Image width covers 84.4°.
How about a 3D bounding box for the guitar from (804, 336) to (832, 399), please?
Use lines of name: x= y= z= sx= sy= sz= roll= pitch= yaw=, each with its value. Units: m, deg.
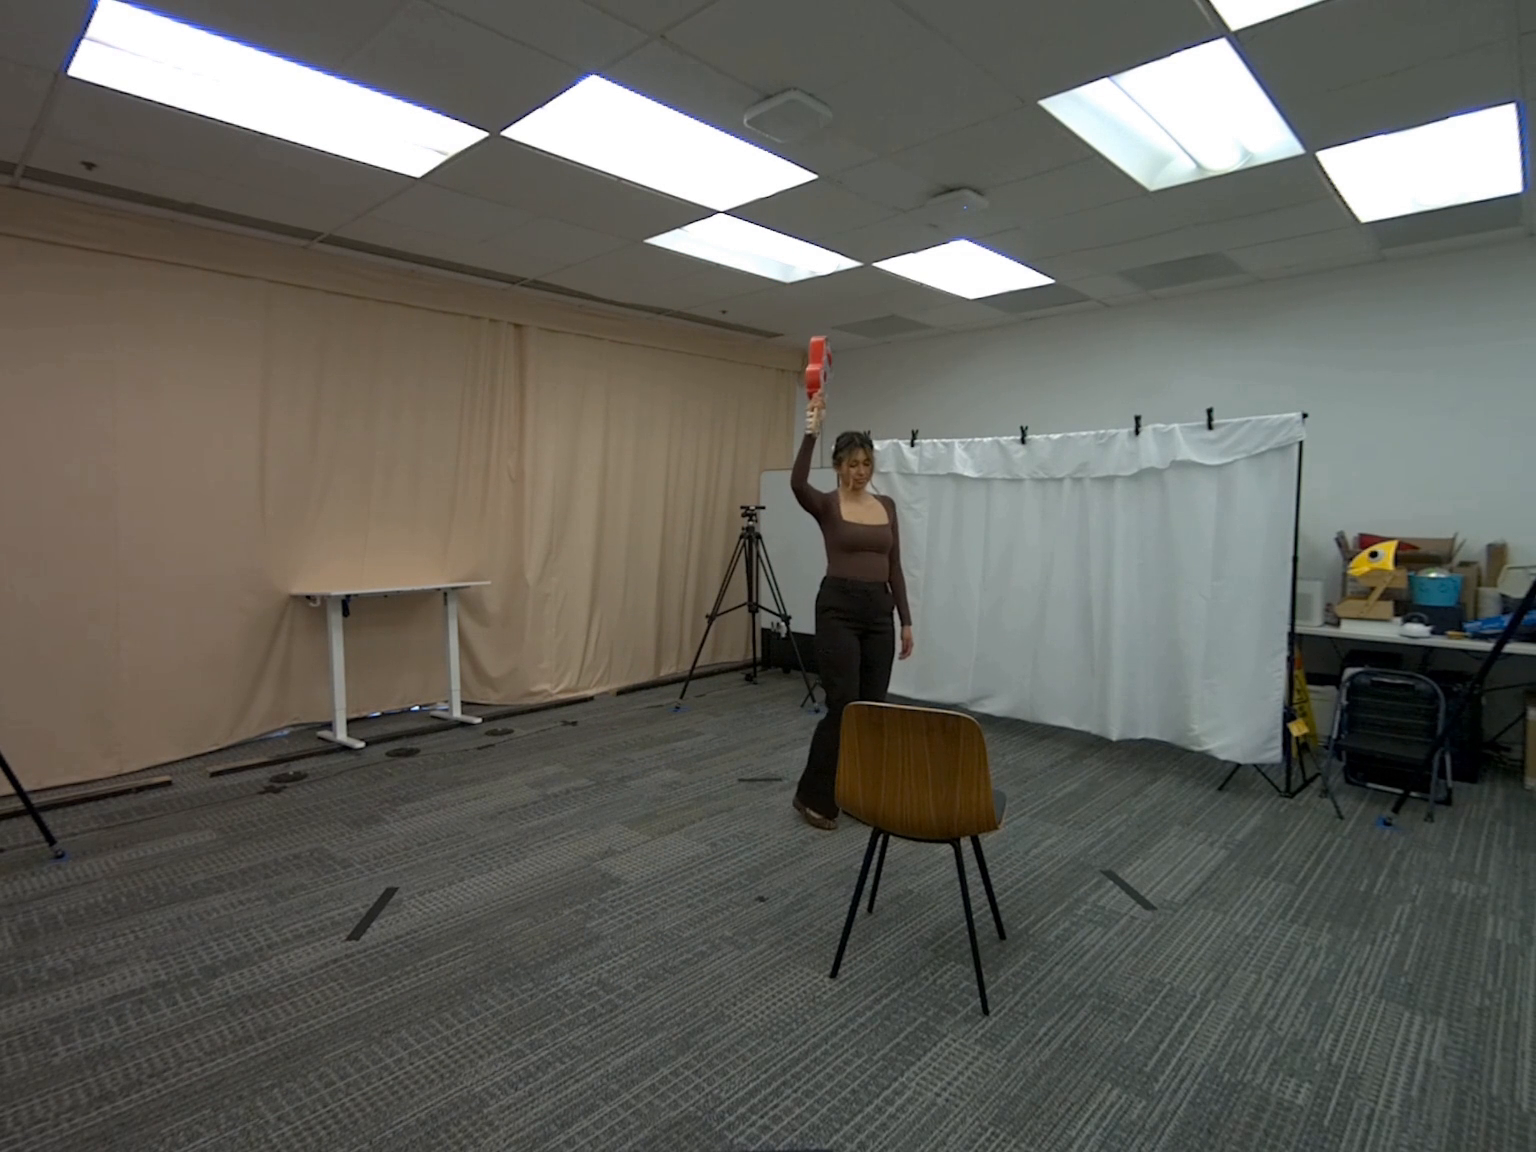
guitar: x=0.192 y=-0.762 z=3.347 sx=0.072 sy=0.188 sz=0.502 roll=-1 pitch=45 yaw=16
